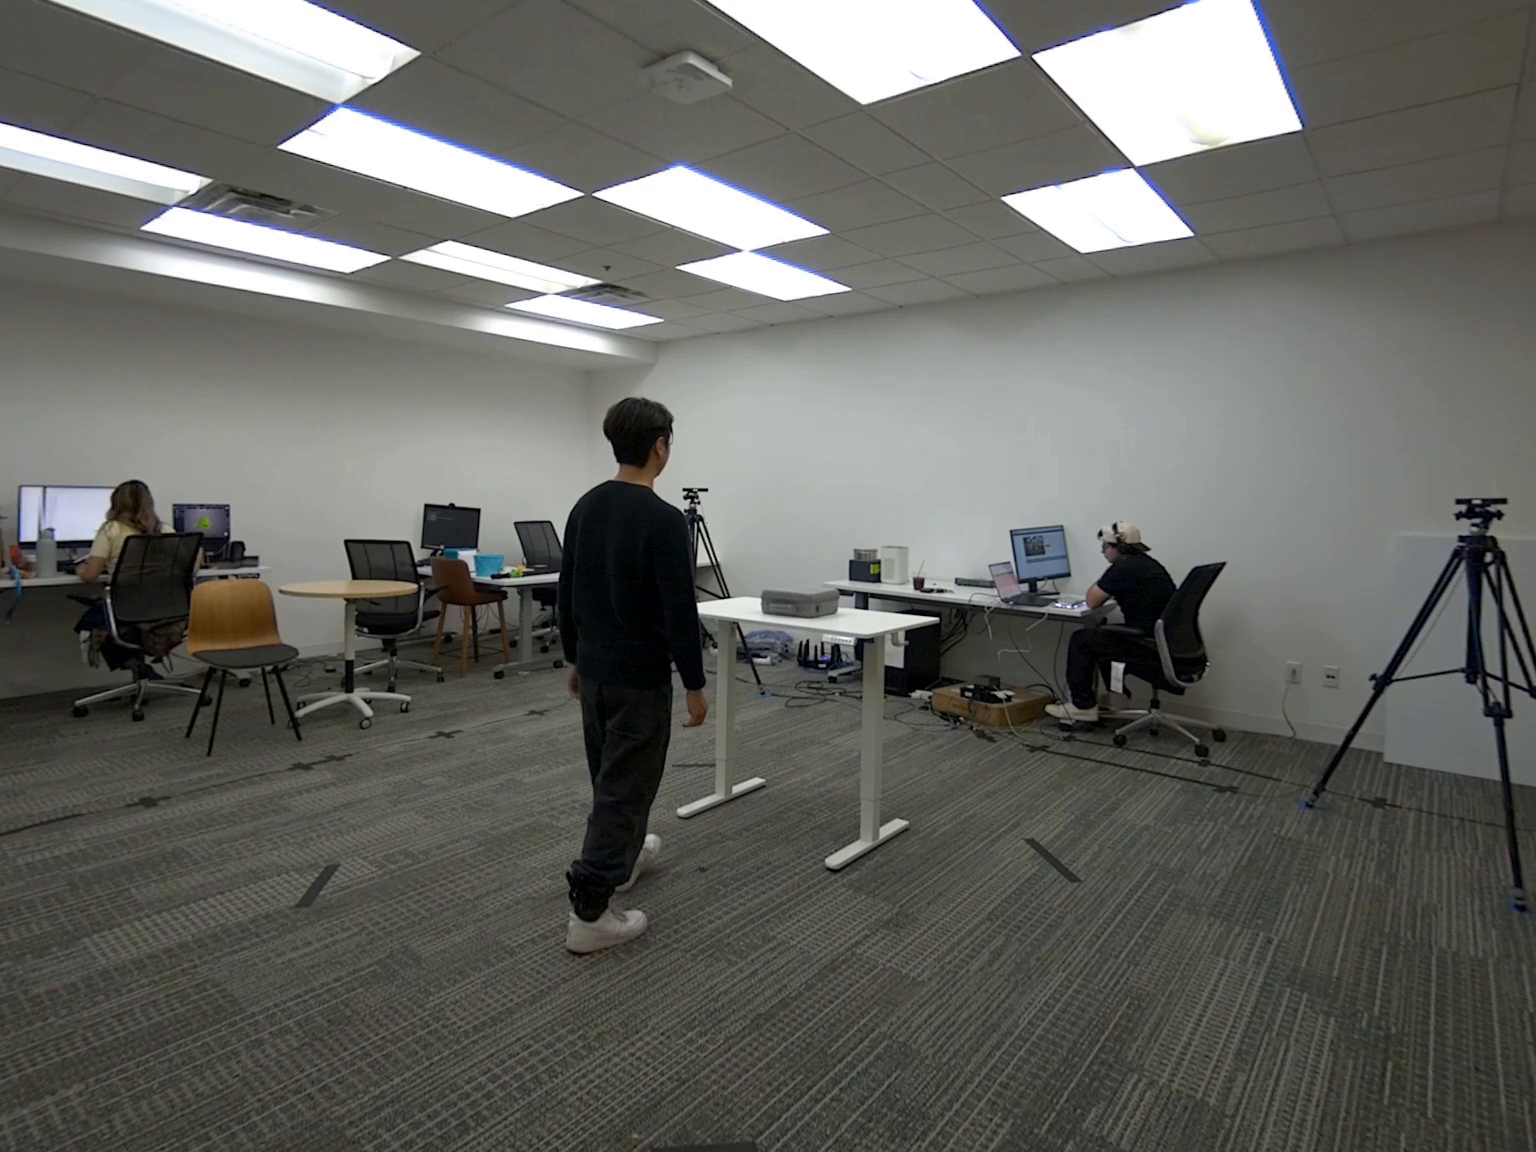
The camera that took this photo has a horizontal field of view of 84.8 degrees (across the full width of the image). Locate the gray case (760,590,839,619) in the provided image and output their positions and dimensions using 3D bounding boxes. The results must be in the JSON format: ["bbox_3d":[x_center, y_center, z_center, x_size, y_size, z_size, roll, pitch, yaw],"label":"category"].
[{"bbox_3d":[0.125,0.100,3.533,0.265,0.104,0.253,5,6,34],"label":"gray case"}]
